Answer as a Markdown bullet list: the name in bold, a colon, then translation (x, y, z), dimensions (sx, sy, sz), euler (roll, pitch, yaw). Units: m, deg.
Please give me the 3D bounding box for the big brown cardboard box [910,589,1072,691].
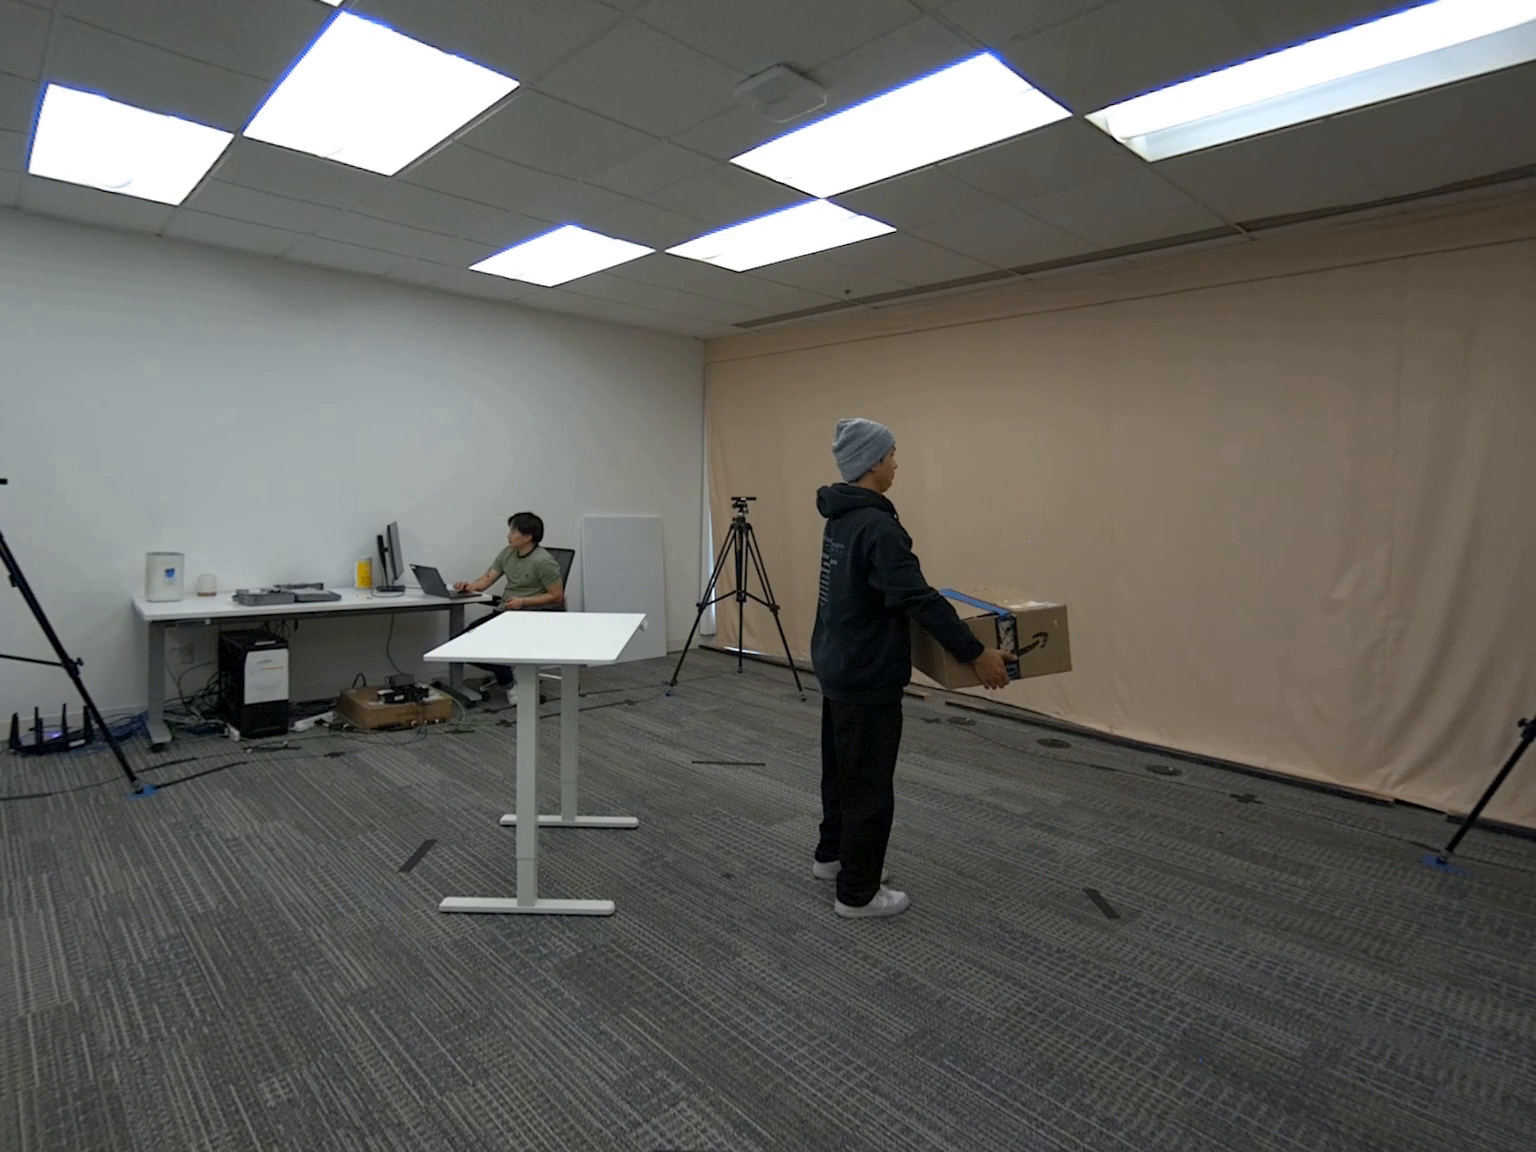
- **big brown cardboard box**: translation (0.702, 0.191, 2.917), dimensions (0.415, 0.232, 0.594), euler (-7, 6, -7)
